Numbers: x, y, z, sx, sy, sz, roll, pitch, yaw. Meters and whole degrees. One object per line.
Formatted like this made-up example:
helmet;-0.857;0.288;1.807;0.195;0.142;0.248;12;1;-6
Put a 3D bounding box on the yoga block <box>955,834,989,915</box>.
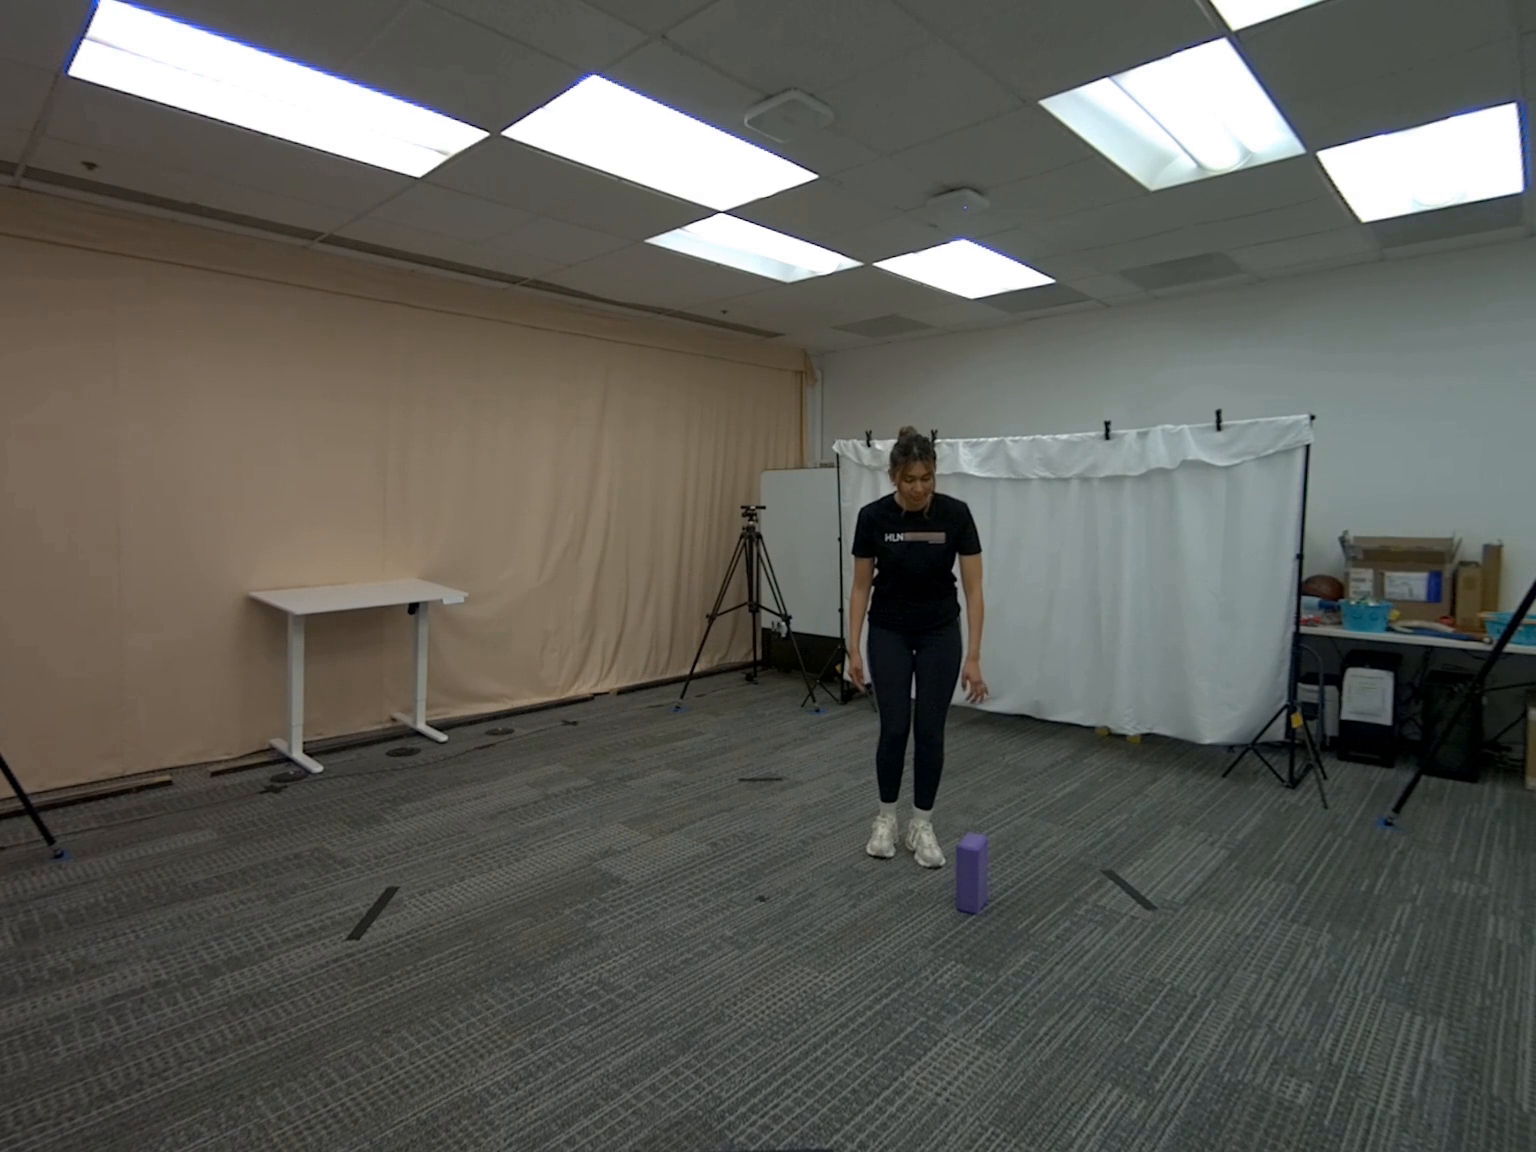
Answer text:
yoga block;0.709;1.026;2.921;0.078;0.229;0.145;0;4;26
